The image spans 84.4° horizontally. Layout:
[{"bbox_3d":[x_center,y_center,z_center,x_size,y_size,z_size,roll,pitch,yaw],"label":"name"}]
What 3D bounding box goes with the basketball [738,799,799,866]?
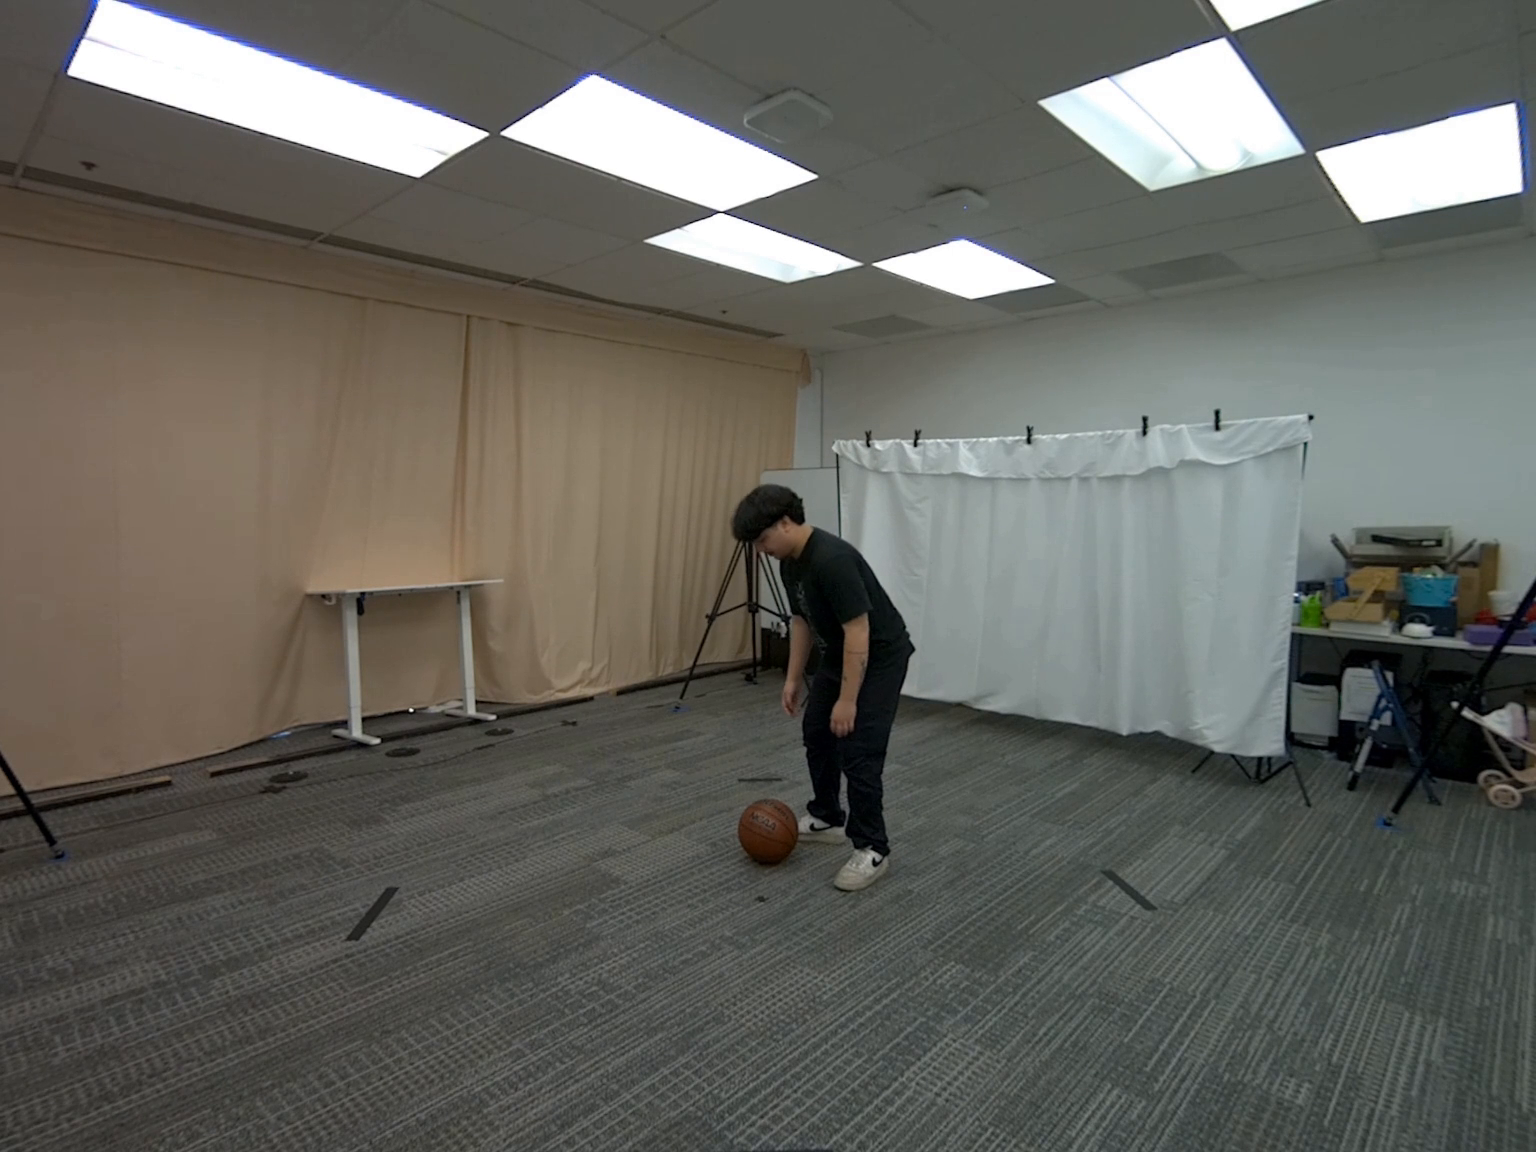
[{"bbox_3d":[0.005,0.998,3.300,0.236,0.235,0.237,0,4,-2],"label":"basketball"}]
